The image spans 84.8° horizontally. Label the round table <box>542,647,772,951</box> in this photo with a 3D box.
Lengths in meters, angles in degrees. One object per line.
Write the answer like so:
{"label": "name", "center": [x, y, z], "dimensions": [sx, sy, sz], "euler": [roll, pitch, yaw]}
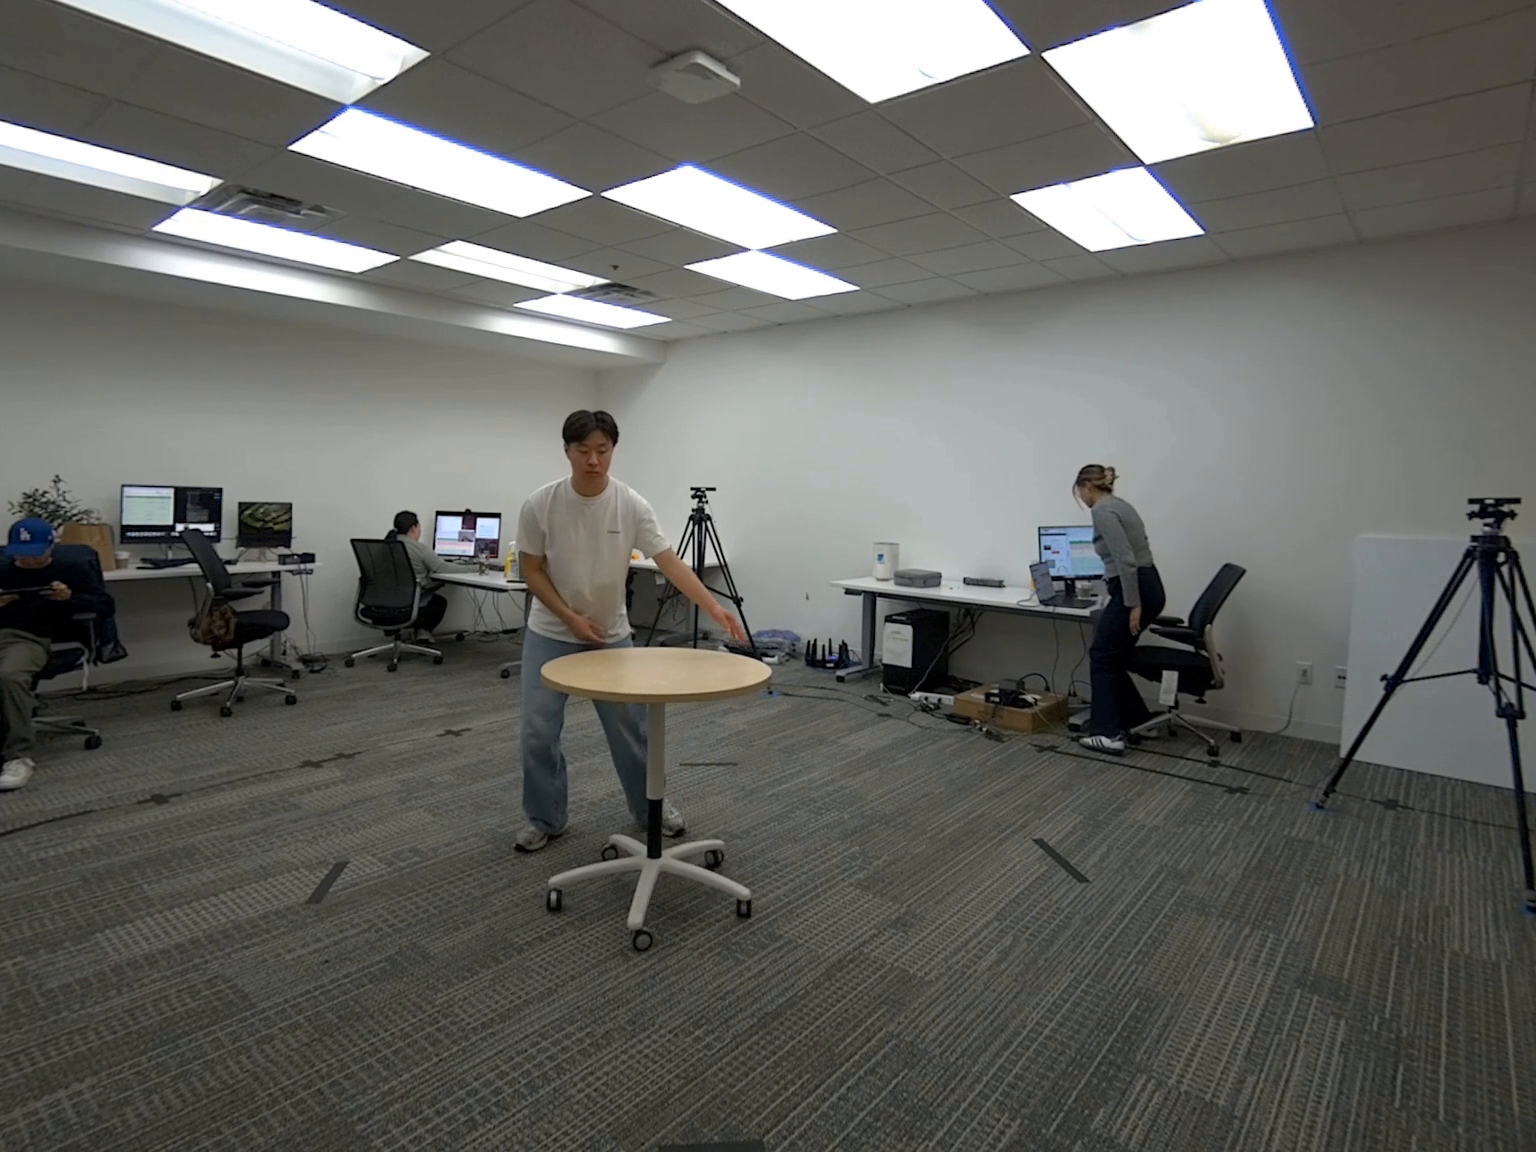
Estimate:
{"label": "round table", "center": [-0.373, 0.690, 2.872], "dimensions": [0.784, 0.784, 0.789], "euler": [1, 4, -2]}
